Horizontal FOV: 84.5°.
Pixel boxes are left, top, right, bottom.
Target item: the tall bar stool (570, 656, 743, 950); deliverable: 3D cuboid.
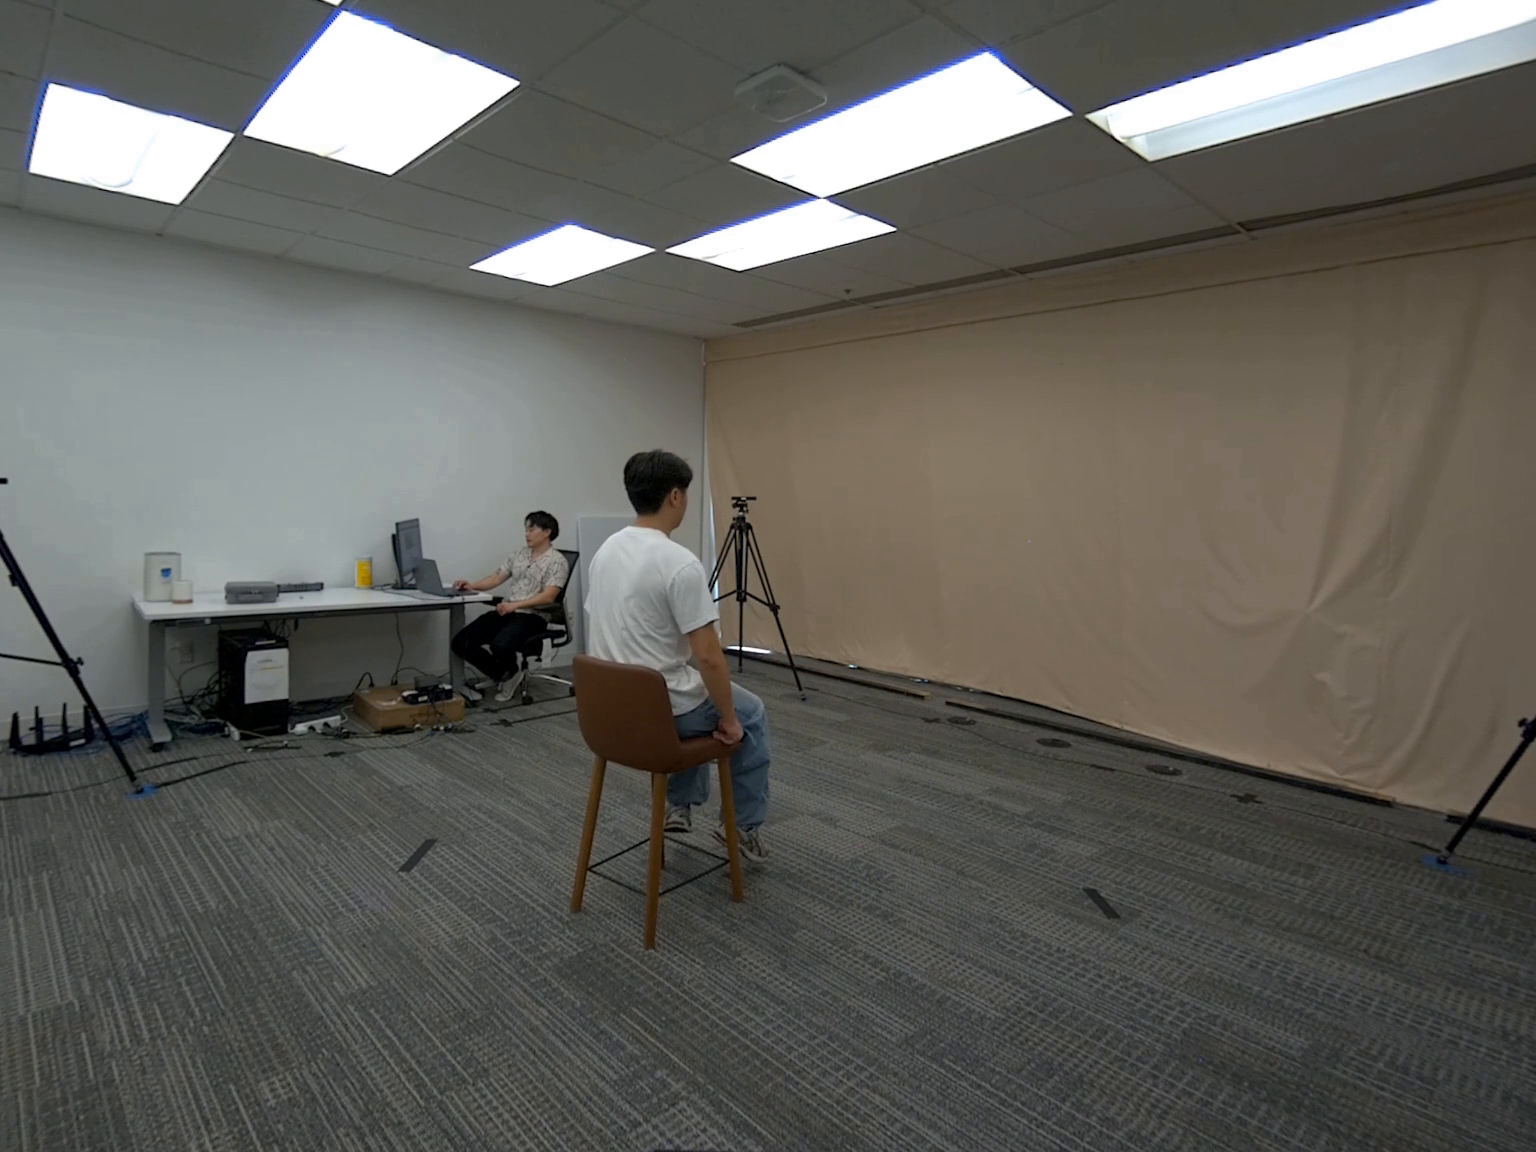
[{"bbox_3d":[-0.391,0.692,2.836,0.467,0.887,0.458,2,6,38],"label":"tall bar stool"}]
